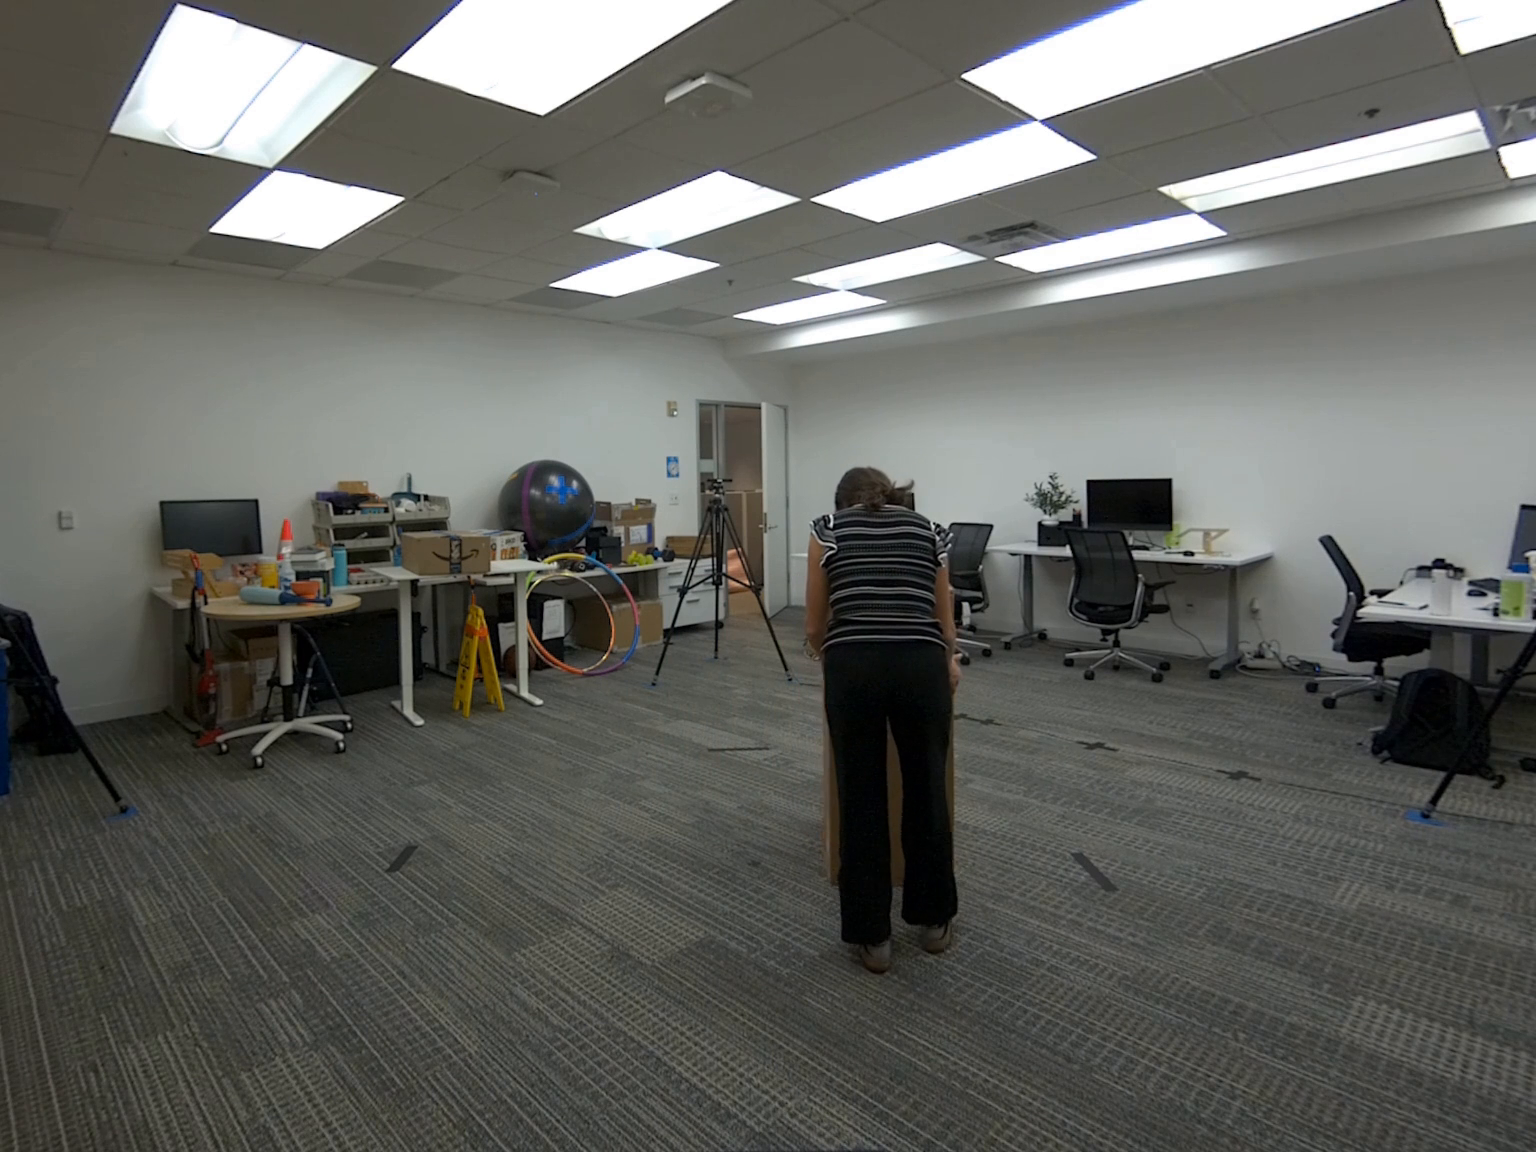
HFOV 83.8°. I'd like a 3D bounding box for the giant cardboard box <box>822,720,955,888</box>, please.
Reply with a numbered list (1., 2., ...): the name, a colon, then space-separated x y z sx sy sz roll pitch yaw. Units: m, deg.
1. giant cardboard box: 0.425 0.521 3.170 0.427 1.022 0.578 -1 4 1
